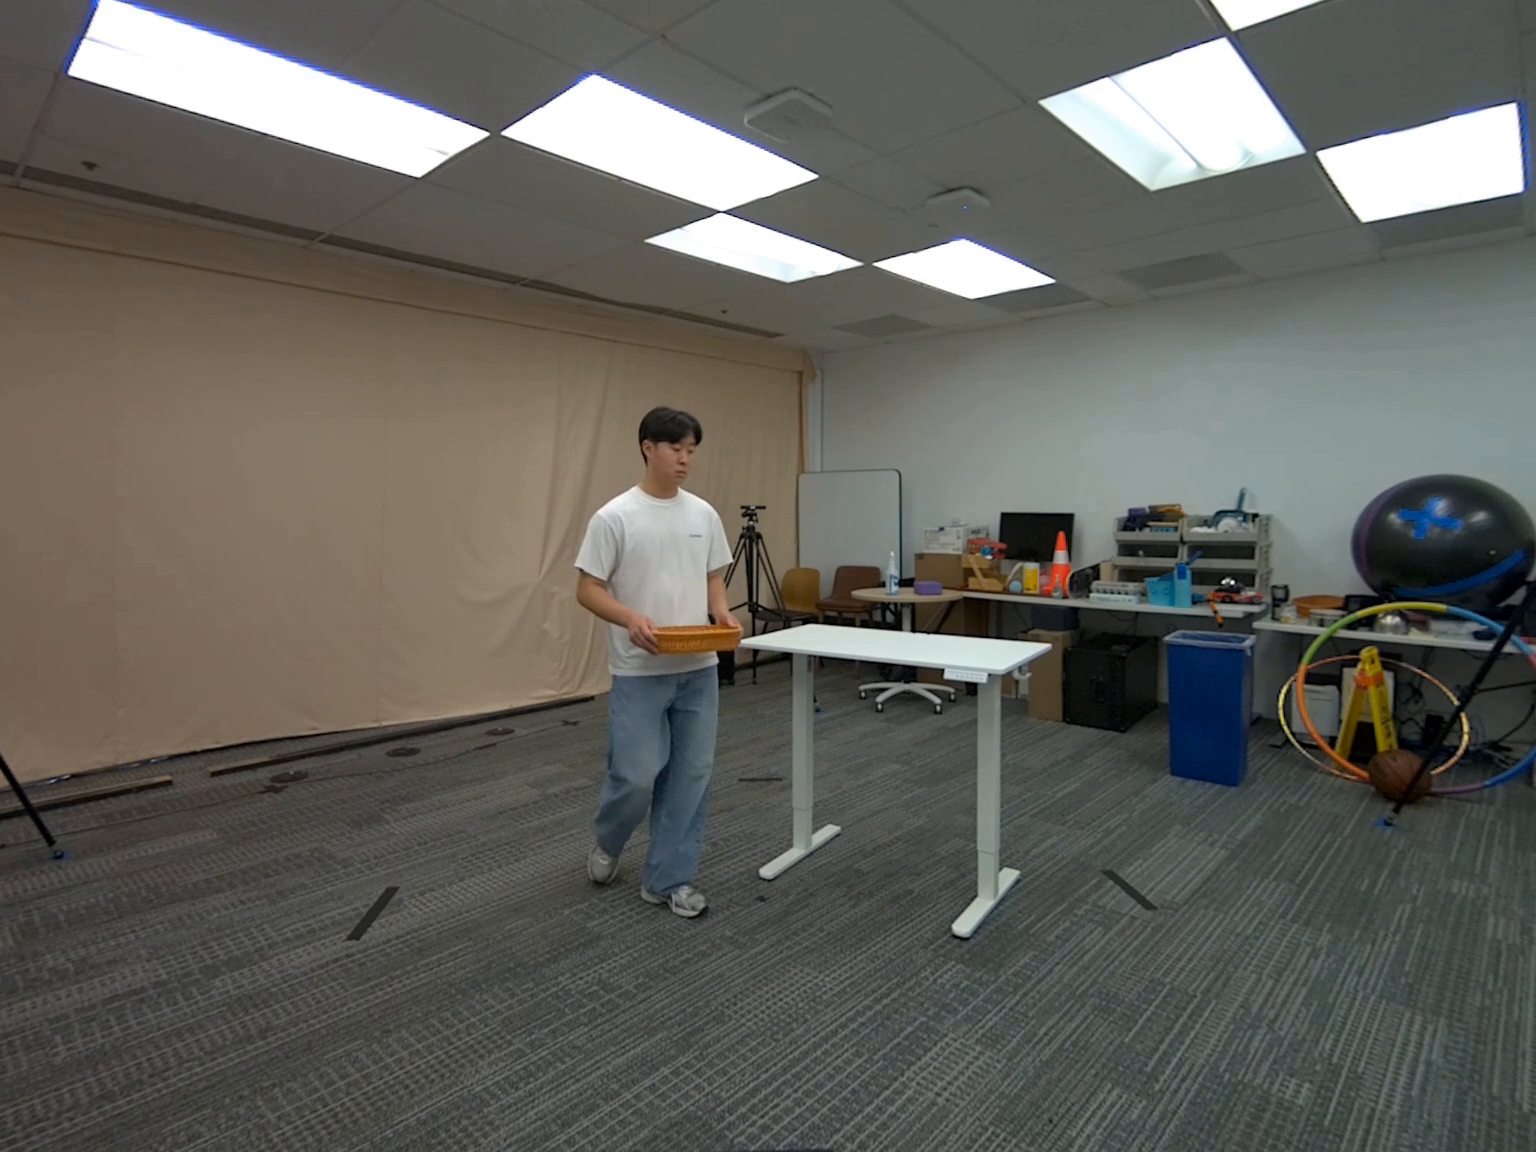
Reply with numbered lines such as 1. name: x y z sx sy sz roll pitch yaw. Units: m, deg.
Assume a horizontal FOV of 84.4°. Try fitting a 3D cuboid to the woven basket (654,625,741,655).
1. woven basket: -0.253 0.205 2.762 0.340 0.073 0.260 -3 4 -36
